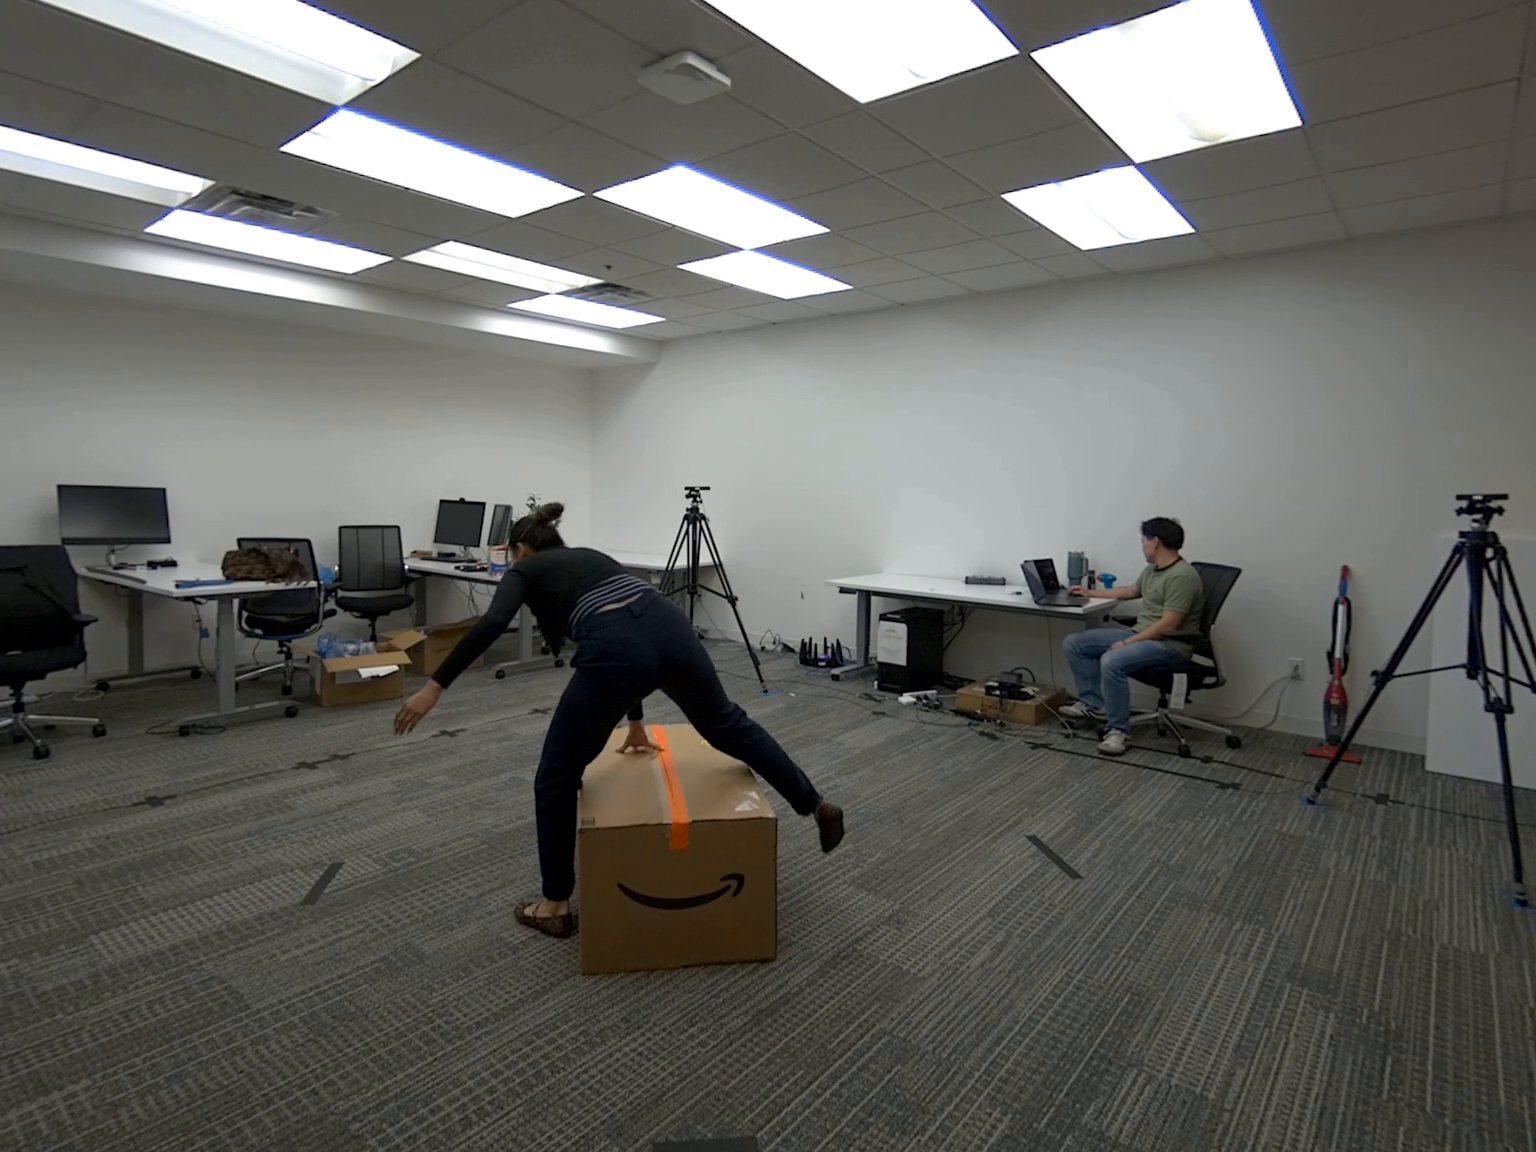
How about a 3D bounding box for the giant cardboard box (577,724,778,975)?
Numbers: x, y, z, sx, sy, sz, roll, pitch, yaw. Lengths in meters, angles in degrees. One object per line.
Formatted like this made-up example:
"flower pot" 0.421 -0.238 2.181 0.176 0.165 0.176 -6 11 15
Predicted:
"giant cardboard box" -0.363 0.864 2.945 0.571 0.424 1.041 0 5 -11
